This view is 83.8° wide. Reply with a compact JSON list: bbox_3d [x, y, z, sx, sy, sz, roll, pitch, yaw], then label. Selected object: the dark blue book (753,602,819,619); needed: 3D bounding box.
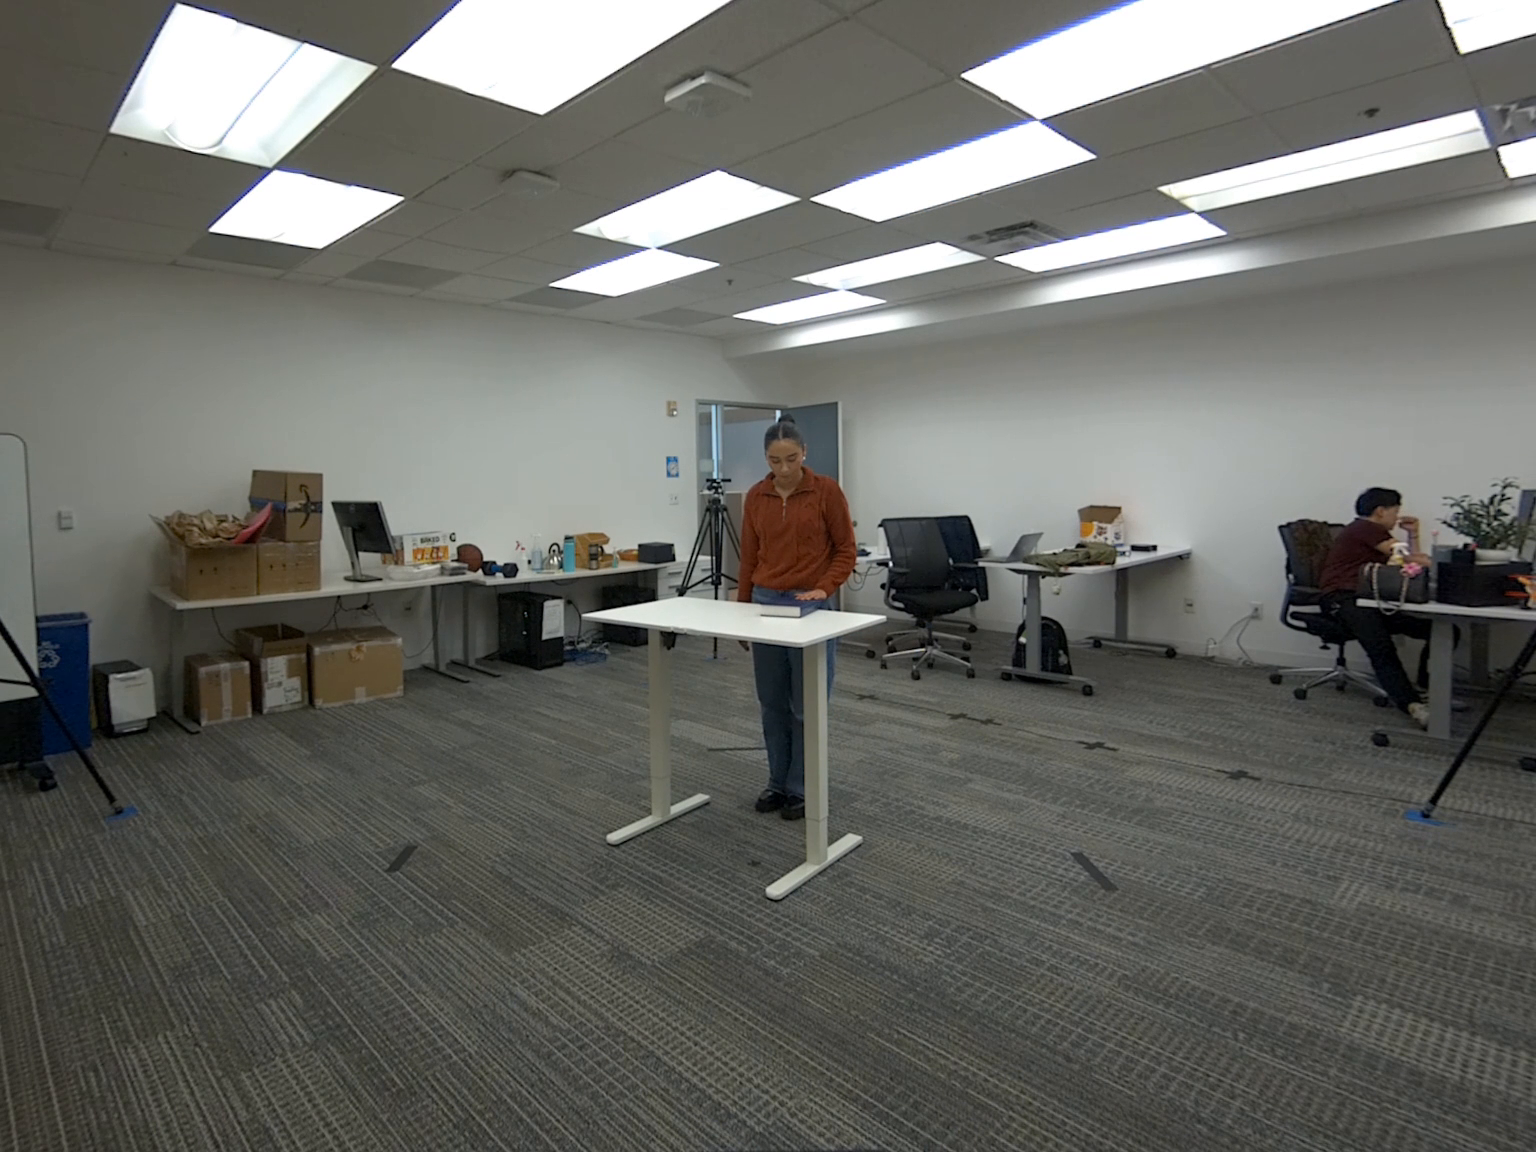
[{"bbox_3d":[0.085,0.124,3.289,0.167,0.045,0.241,2,5,21],"label":"dark blue book"}]
